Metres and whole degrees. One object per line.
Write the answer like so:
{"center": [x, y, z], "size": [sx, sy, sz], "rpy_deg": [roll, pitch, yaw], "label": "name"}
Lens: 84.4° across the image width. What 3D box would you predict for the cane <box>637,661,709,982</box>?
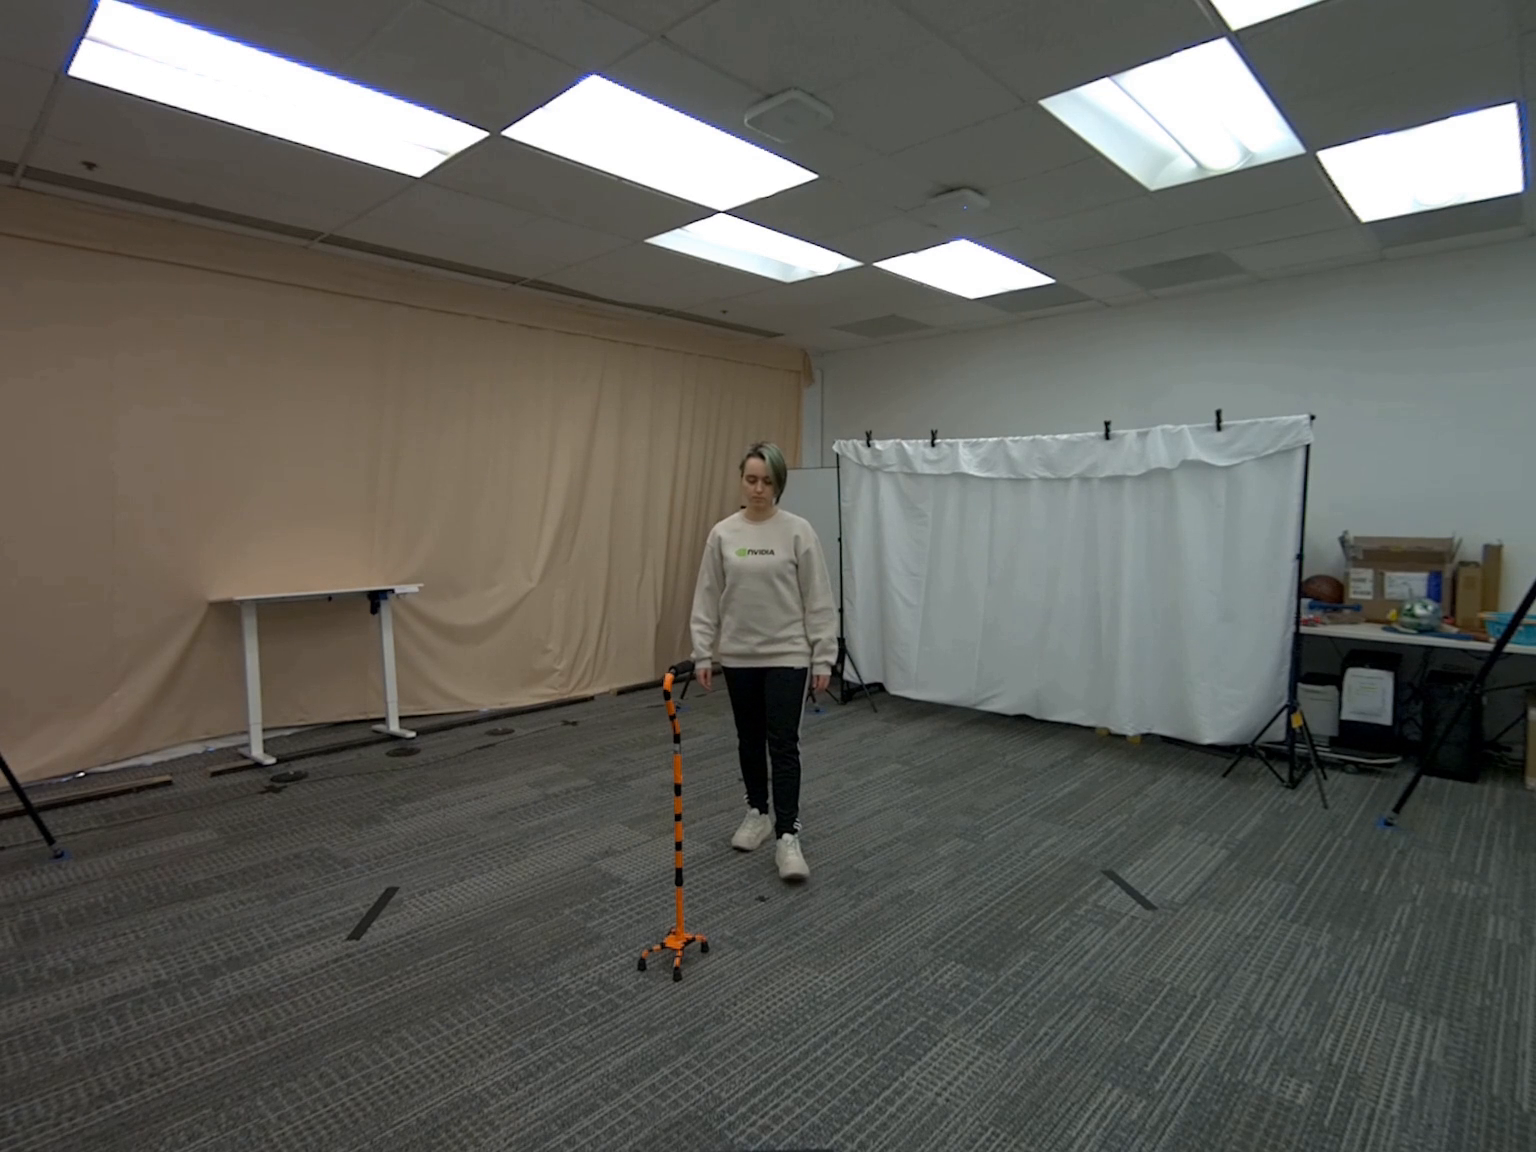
{"center": [-0.288, 0.726, 2.556], "size": [0.155, 0.906, 0.202], "rpy_deg": [2, 4, 23], "label": "cane"}
